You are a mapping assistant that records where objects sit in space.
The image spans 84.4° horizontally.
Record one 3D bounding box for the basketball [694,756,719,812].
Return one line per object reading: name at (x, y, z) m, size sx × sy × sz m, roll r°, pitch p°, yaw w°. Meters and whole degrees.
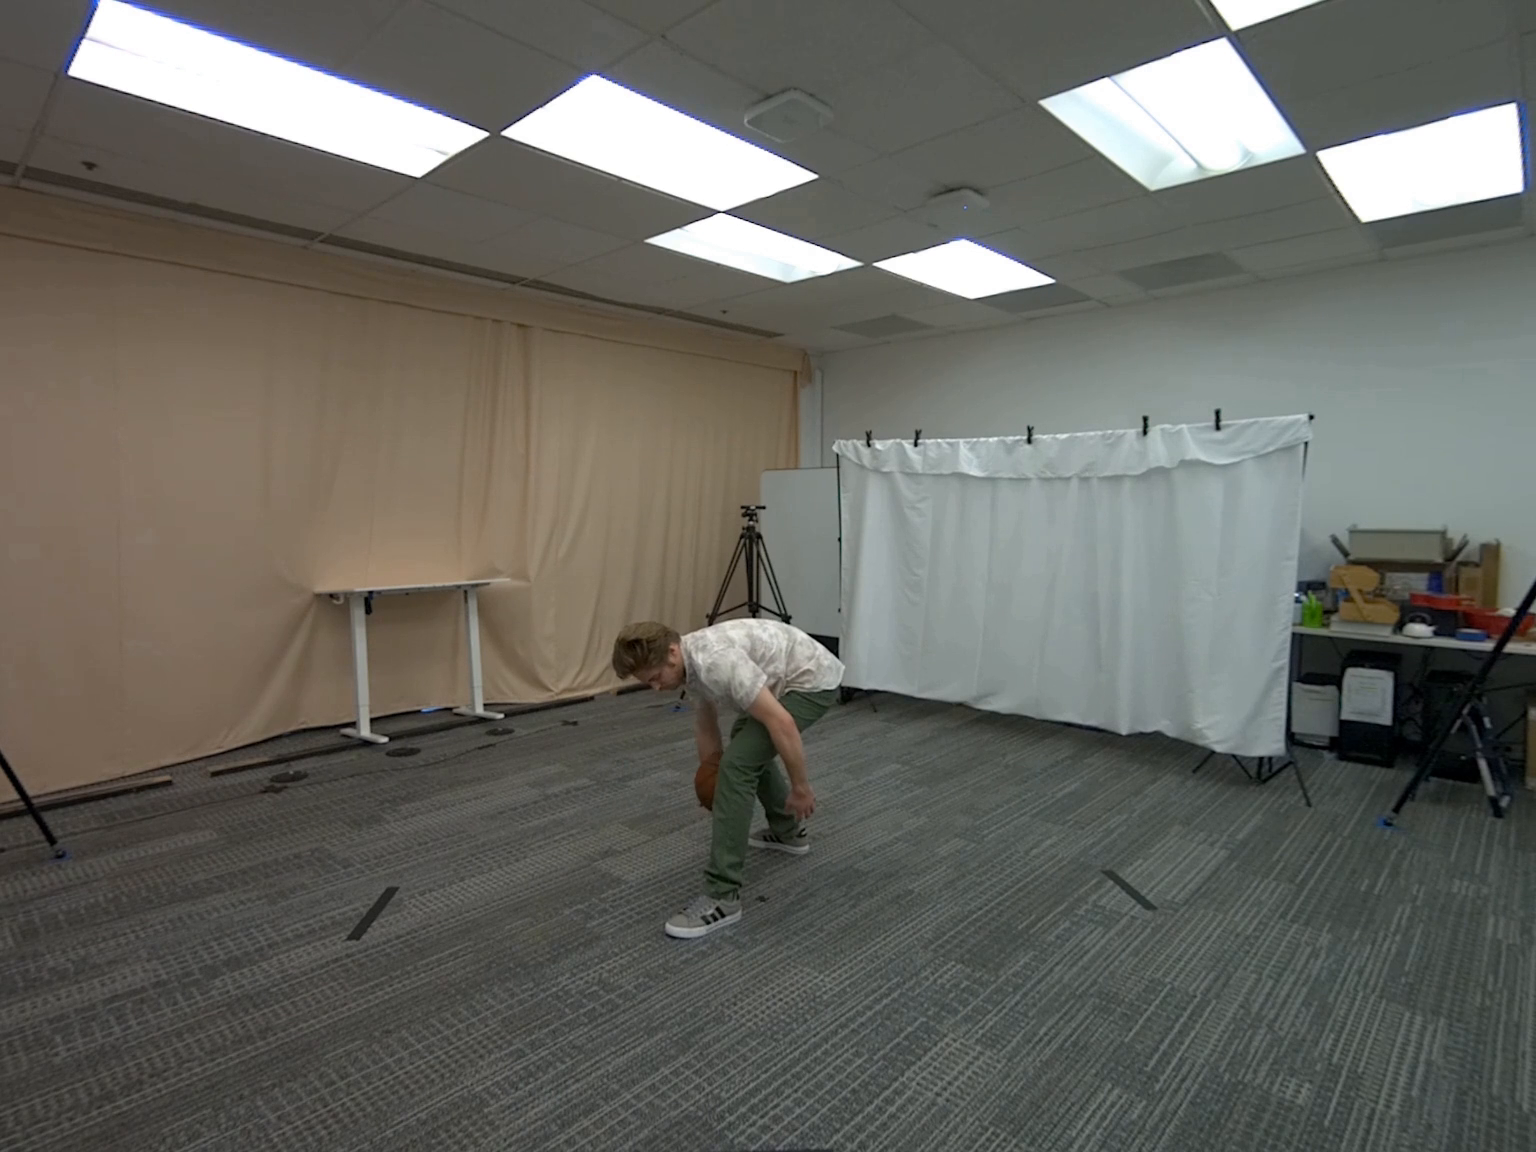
basketball at (-0.174, 0.787, 3.200) m, size 0.236 × 0.235 × 0.237 m, roll 0°, pitch 4°, yaw -2°
